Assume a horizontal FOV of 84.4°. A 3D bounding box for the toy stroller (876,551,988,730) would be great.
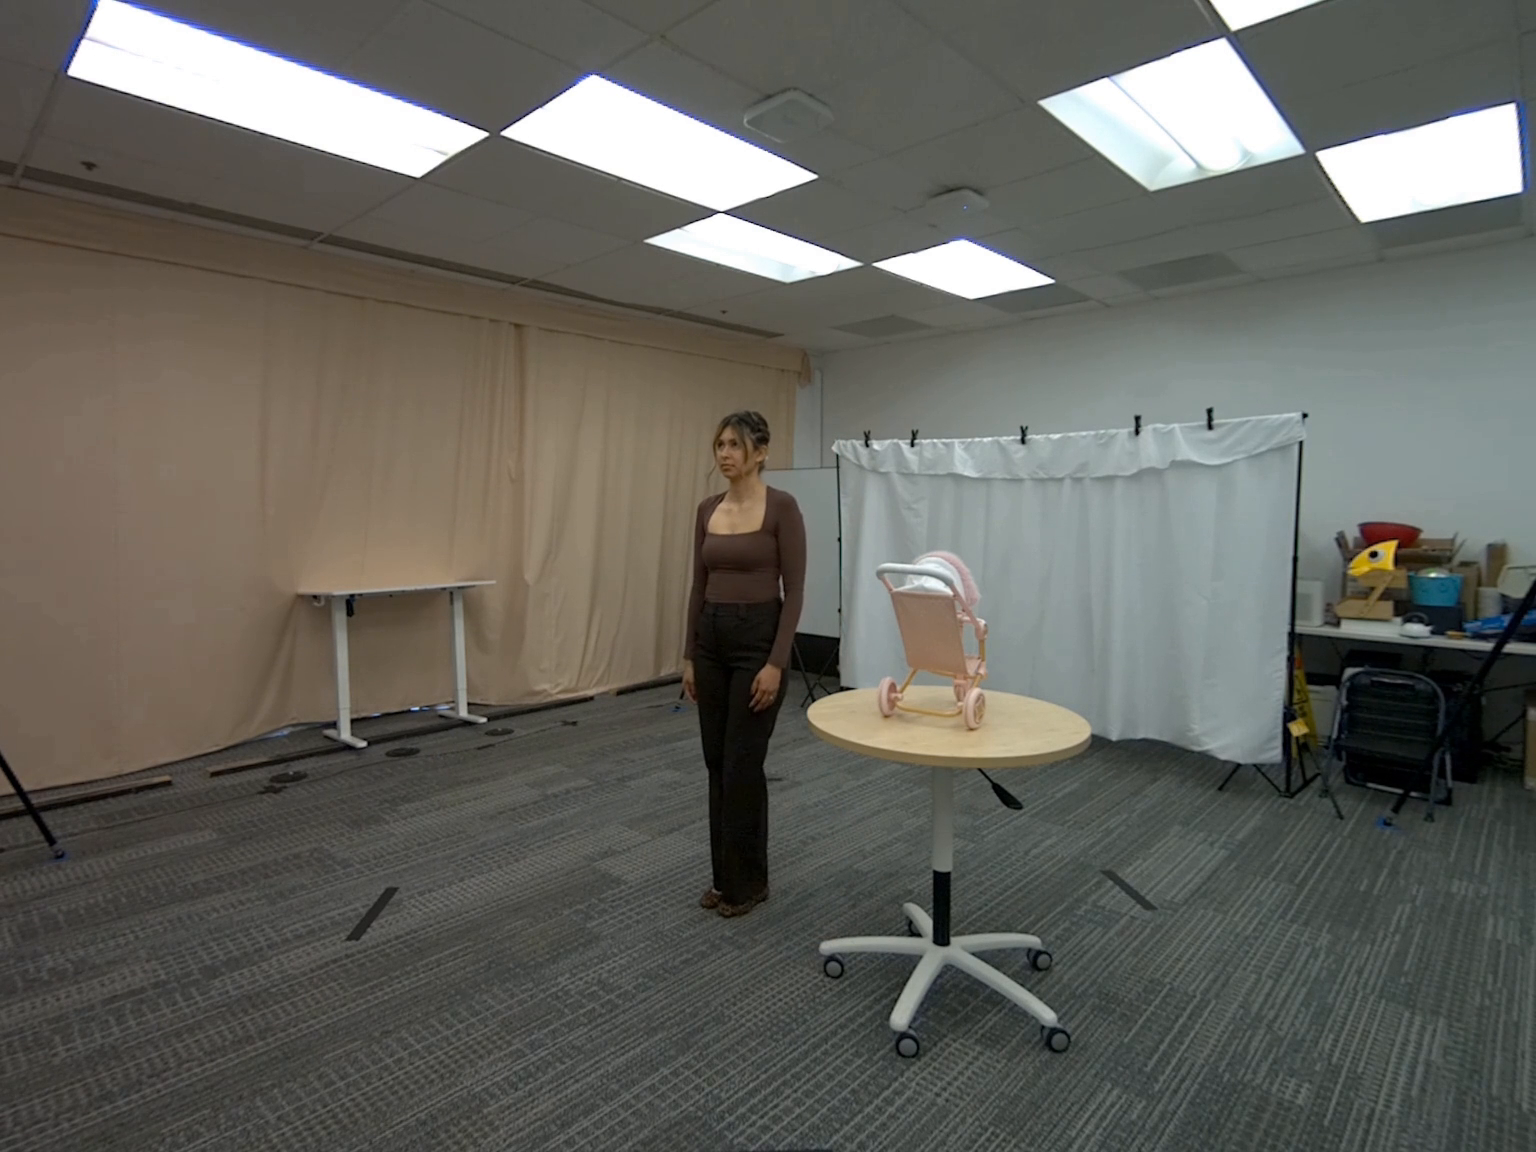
[{"bbox_3d":[0.491,0.173,2.348,0.290,0.529,0.334,2,18,38],"label":"toy stroller"}]
